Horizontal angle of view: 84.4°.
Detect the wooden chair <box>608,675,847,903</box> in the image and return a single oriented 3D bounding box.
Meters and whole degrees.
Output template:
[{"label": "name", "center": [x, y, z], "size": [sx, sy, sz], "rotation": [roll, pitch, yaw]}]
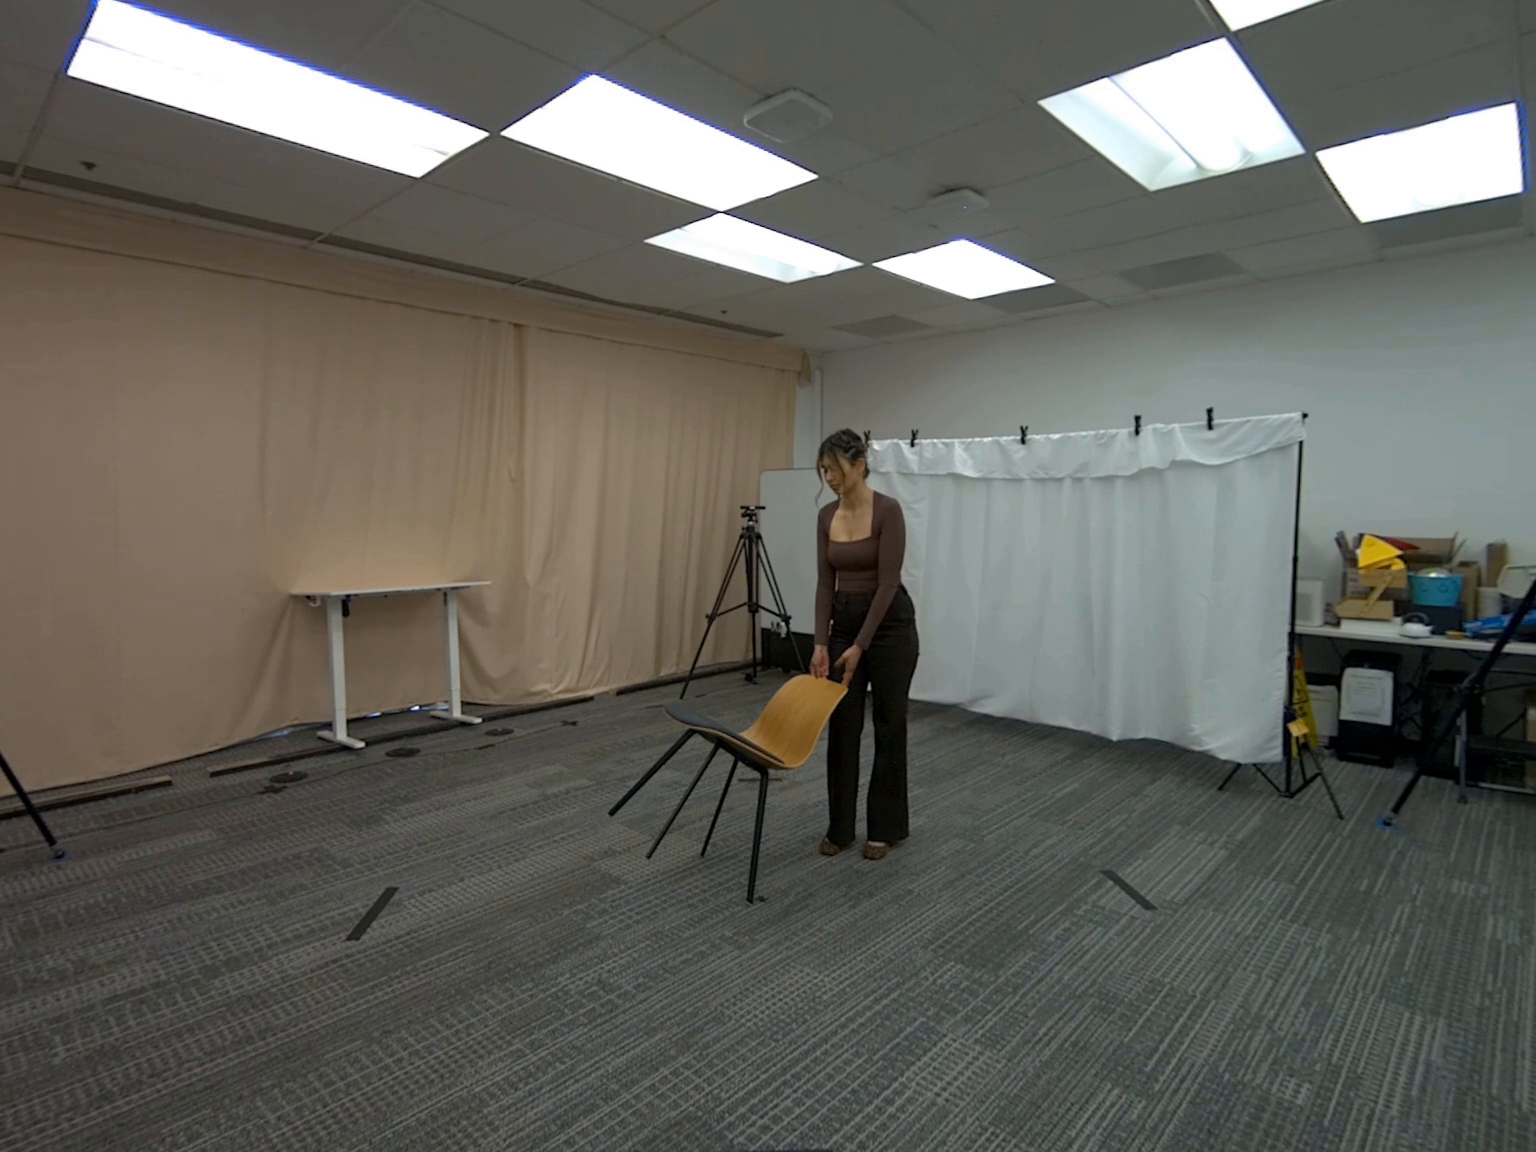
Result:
[{"label": "wooden chair", "center": [-0.139, 0.645, 3.121], "size": [0.510, 0.877, 0.491], "rotation": [36, -12, -23]}]
